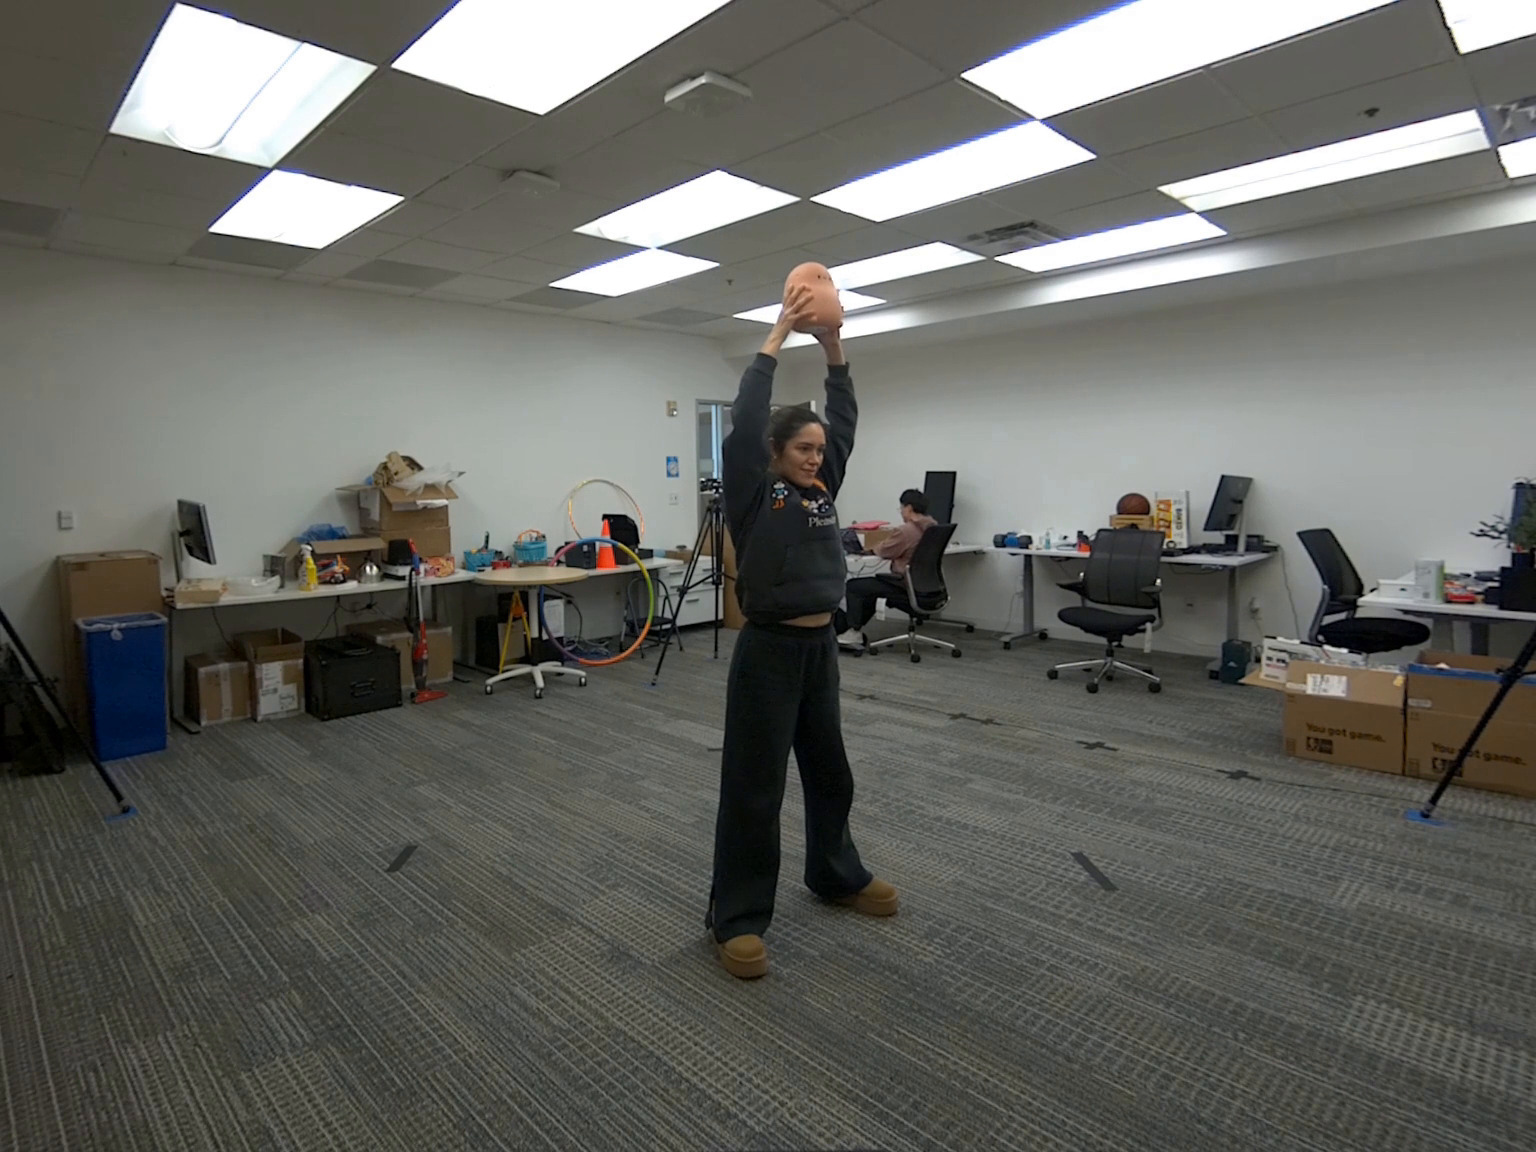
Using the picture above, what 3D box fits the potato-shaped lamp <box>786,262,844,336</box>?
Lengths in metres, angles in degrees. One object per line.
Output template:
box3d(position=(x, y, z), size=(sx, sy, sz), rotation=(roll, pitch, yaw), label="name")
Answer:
box3d(position=(0.127, -0.807, 2.457), size=(0.160, 0.198, 0.176), rotation=(-1, 0, -38), label="potato-shaped lamp")
